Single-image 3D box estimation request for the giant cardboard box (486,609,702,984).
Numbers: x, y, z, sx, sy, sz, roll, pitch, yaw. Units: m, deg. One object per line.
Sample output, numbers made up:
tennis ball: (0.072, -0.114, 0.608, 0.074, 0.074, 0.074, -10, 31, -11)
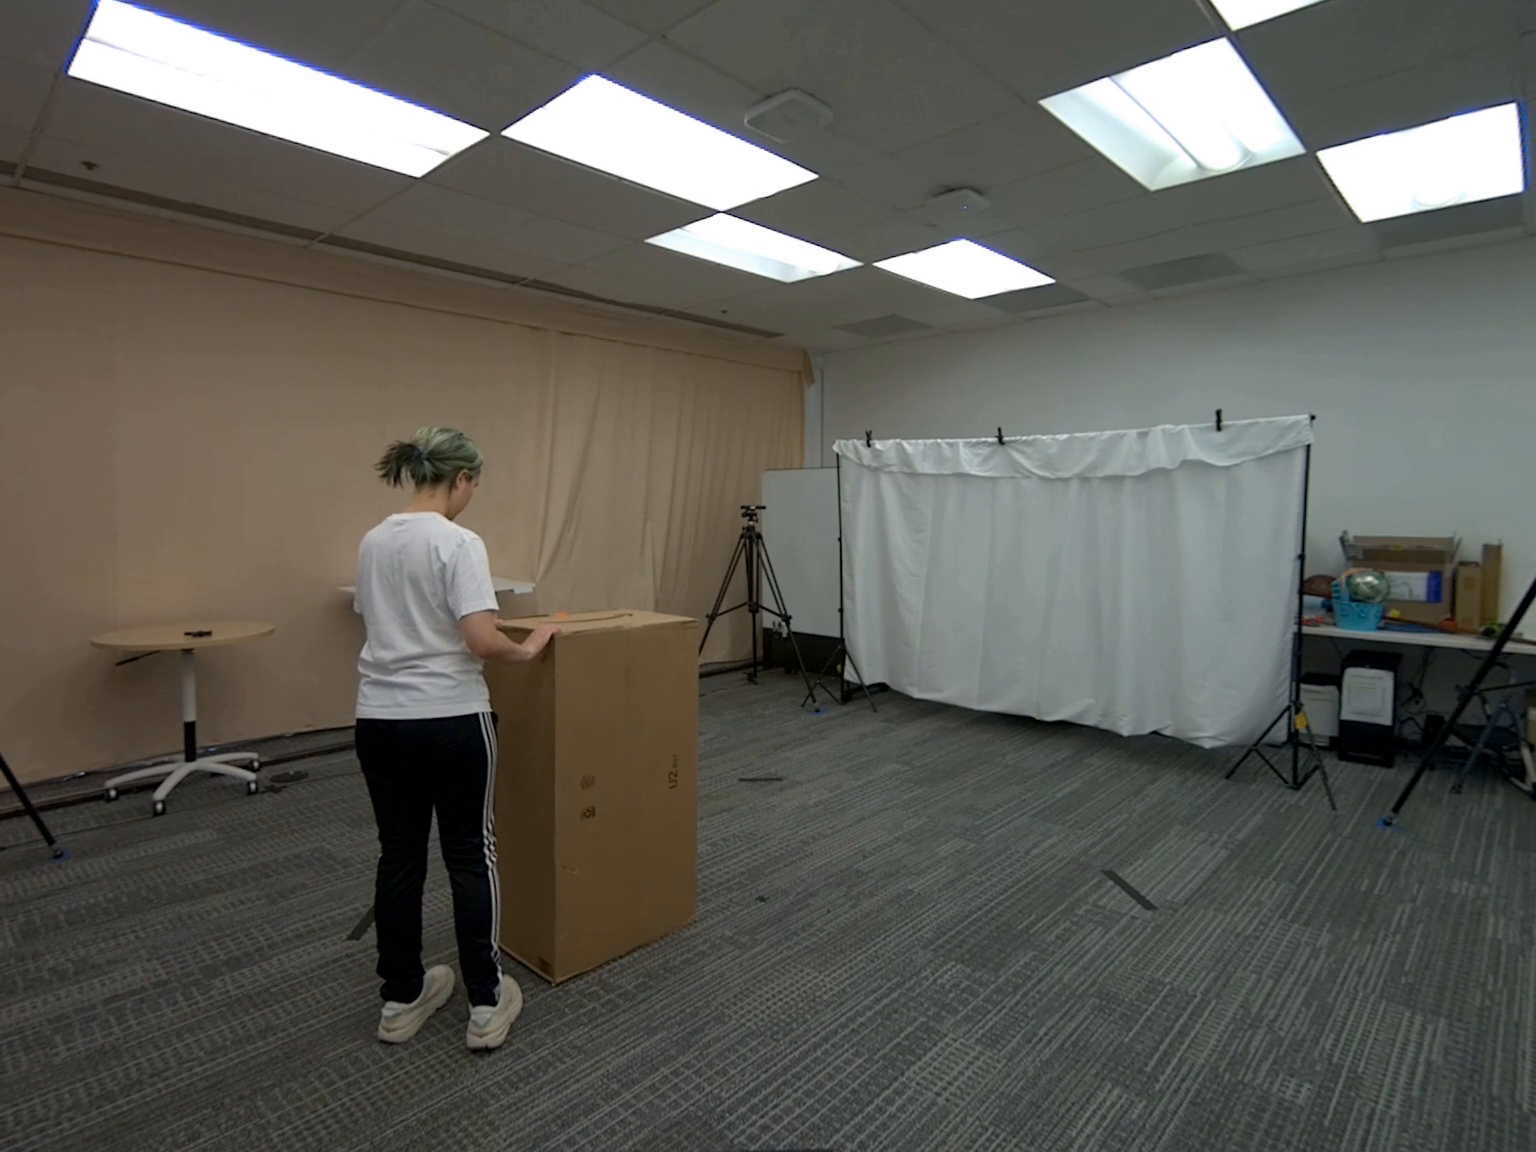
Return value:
giant cardboard box: (-0.580, 0.655, 2.765, 0.462, 1.025, 0.565, 3, 3, 42)
